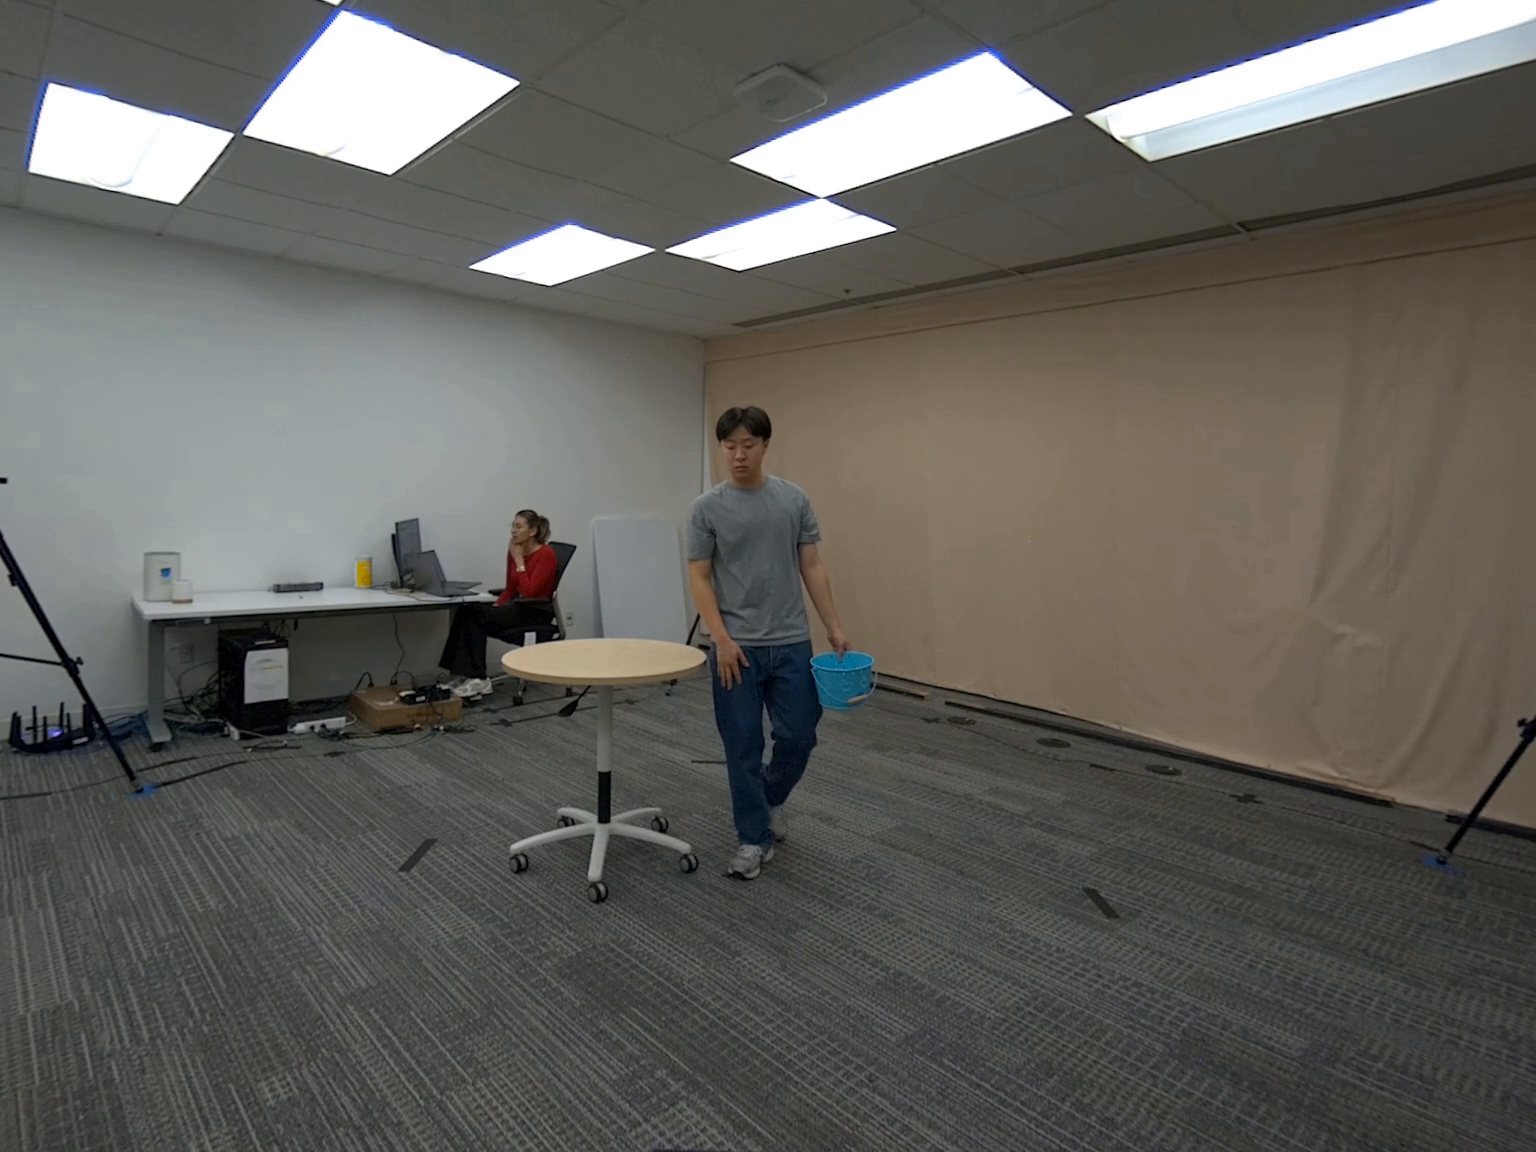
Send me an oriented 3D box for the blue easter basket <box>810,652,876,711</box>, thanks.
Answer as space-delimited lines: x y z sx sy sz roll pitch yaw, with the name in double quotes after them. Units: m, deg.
0.266 0.386 3.056 0.243 0.155 0.245 -2 9 -1 "blue easter basket"
